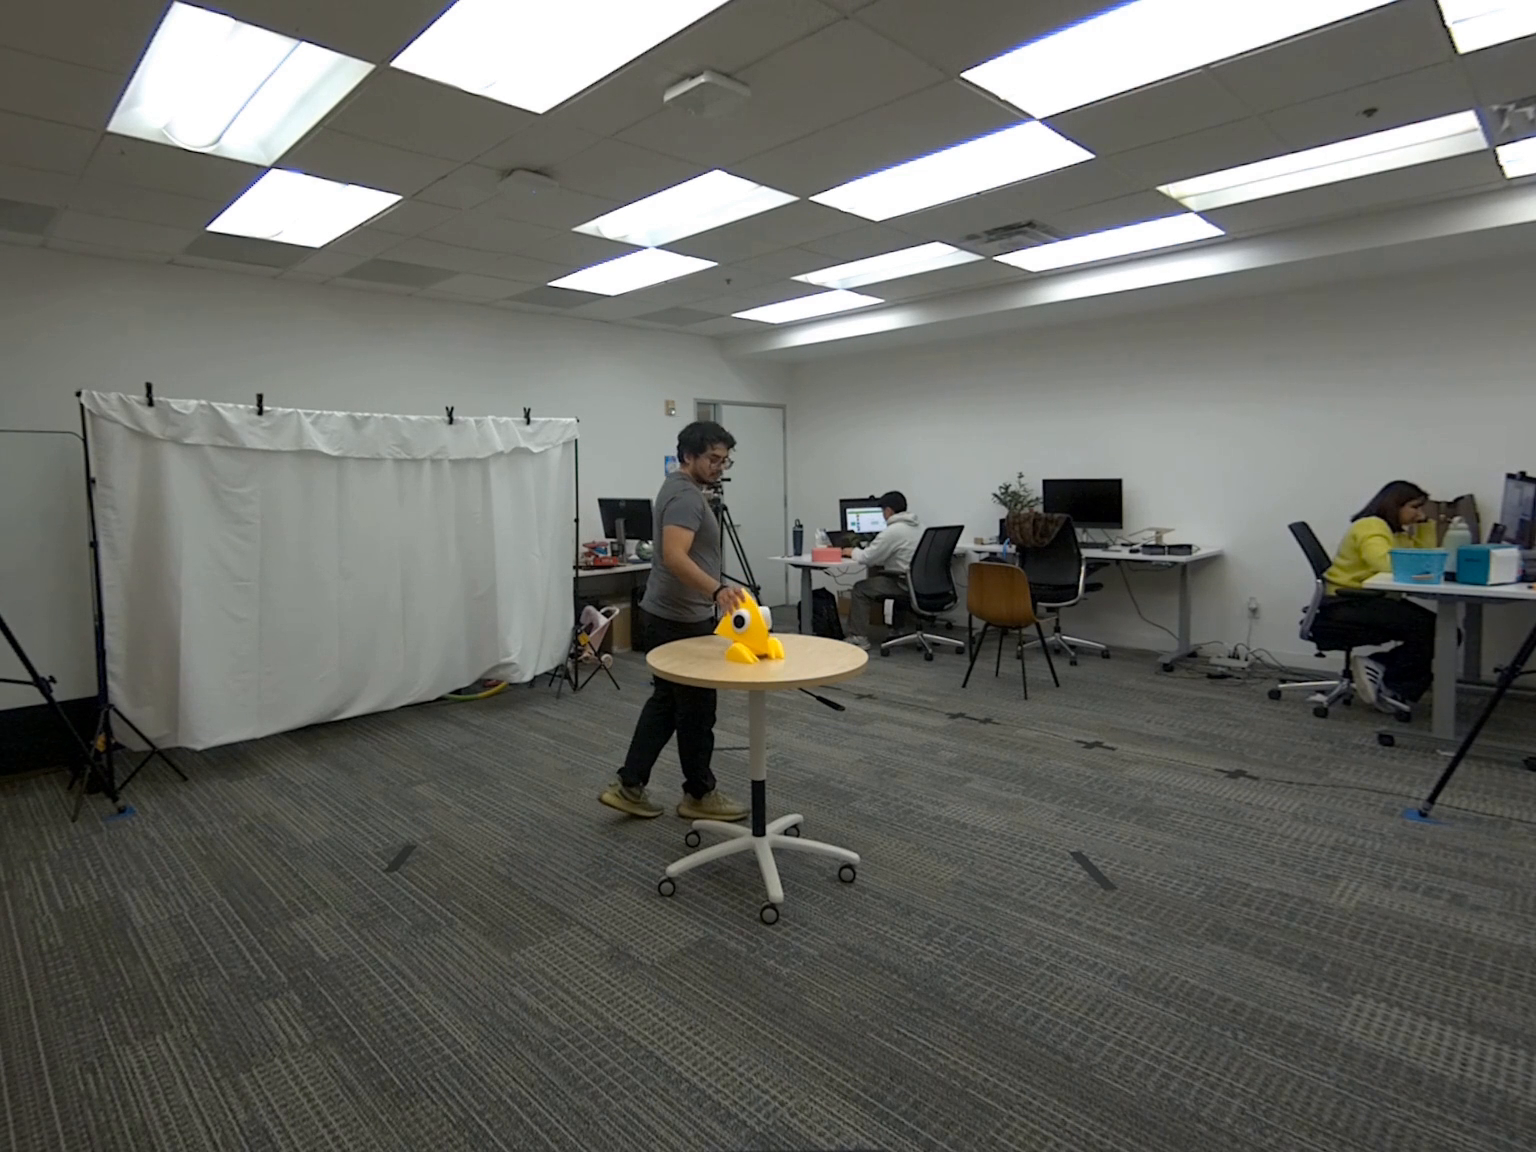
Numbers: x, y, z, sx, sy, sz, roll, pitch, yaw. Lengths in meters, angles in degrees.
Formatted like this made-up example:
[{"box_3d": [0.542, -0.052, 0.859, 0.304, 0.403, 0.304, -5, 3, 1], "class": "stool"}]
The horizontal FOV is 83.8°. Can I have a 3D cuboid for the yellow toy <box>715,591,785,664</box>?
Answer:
[{"box_3d": [-0.046, 0.166, 2.933, 0.200, 0.230, 0.199, -4, 6, -34], "class": "yellow toy"}]
